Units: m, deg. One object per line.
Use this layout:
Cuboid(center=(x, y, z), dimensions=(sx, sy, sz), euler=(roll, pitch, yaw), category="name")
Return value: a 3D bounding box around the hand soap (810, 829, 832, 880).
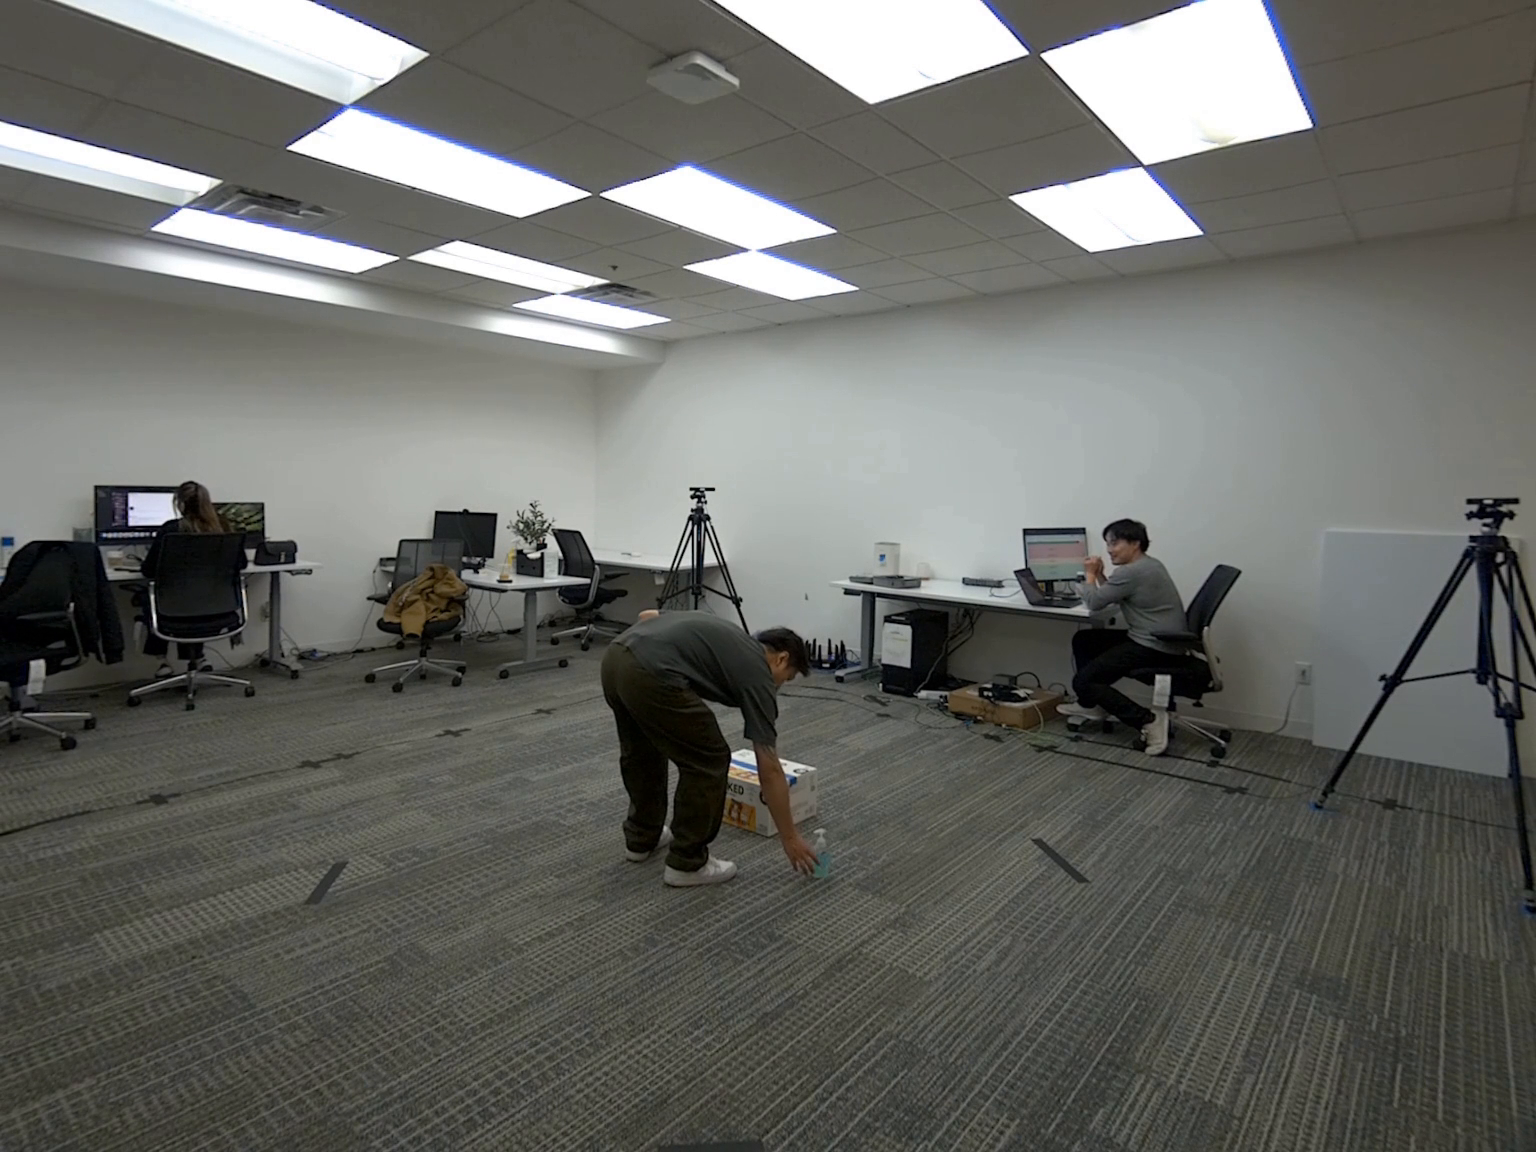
Cuboid(center=(0.181, 1.007, 3.068), dimensions=(0.083, 0.167, 0.045), euler=(-1, 7, -24), category="hand soap")
